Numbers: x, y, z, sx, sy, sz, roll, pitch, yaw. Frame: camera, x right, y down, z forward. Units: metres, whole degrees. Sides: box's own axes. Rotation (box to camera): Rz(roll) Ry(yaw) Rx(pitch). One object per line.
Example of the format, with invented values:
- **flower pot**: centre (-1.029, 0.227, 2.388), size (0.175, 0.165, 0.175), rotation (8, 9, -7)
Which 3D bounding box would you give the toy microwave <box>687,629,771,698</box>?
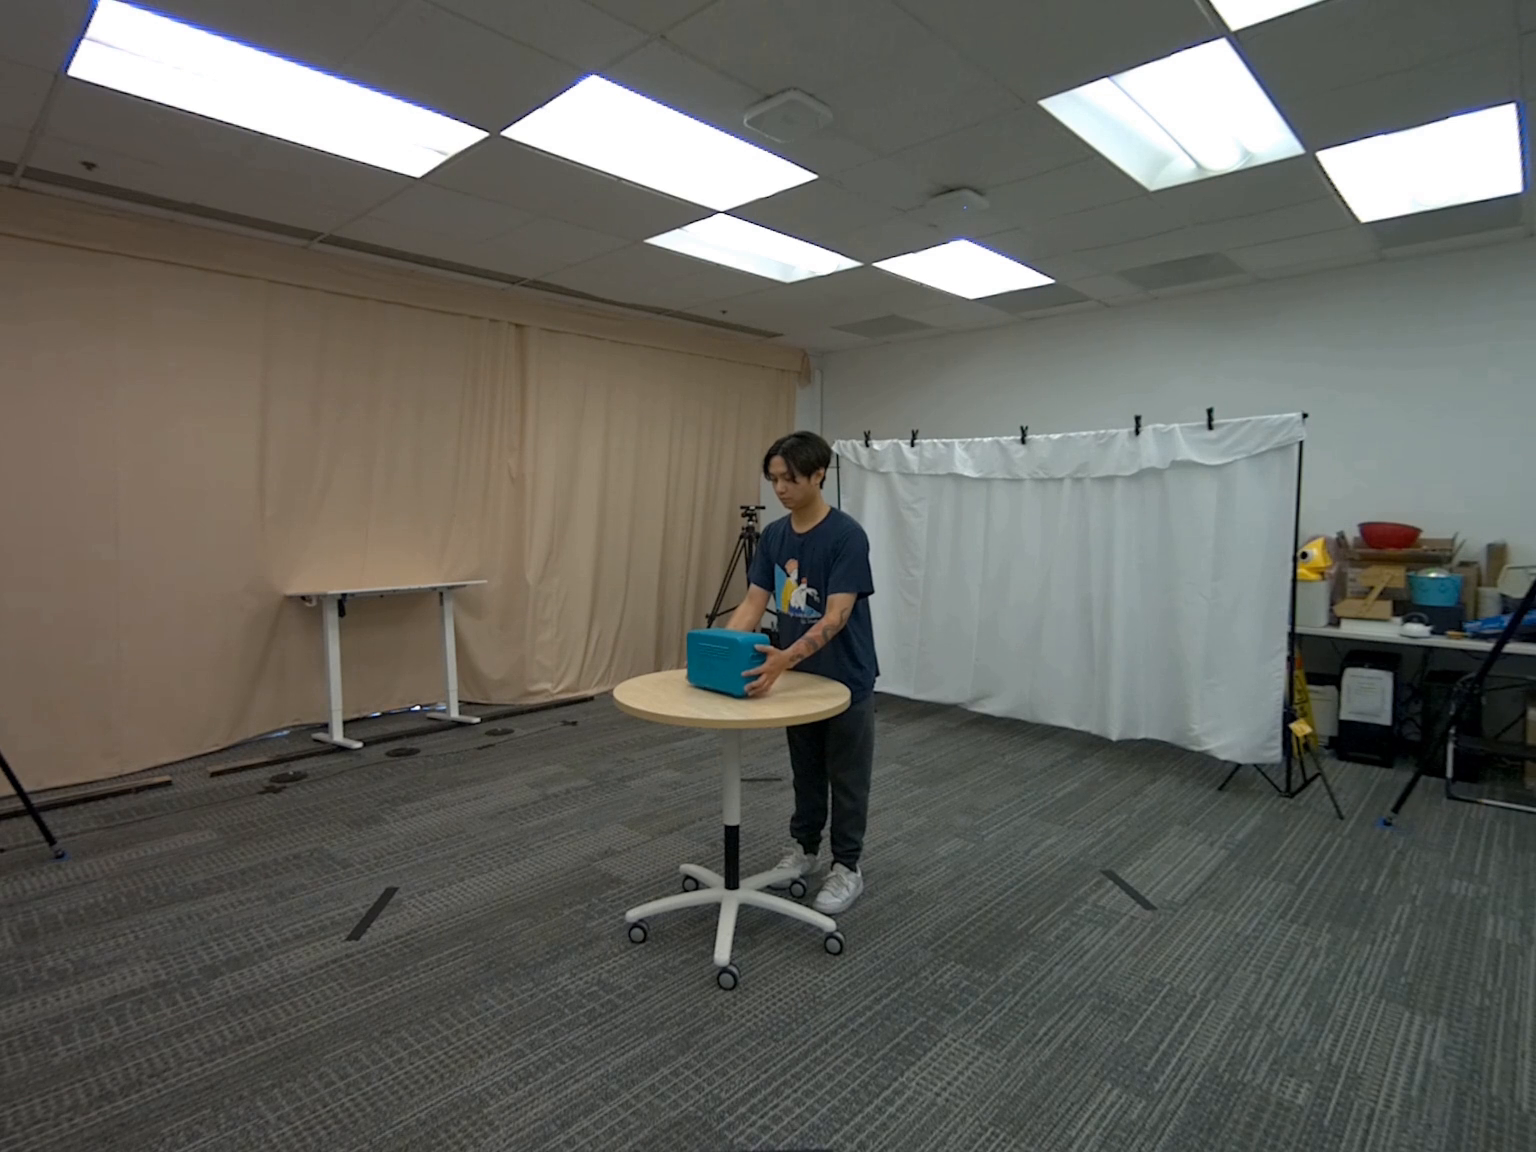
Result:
- **toy microwave**: centre (-0.121, 0.274, 2.708), size (0.148, 0.184, 0.295), rotation (-3, 4, -39)
